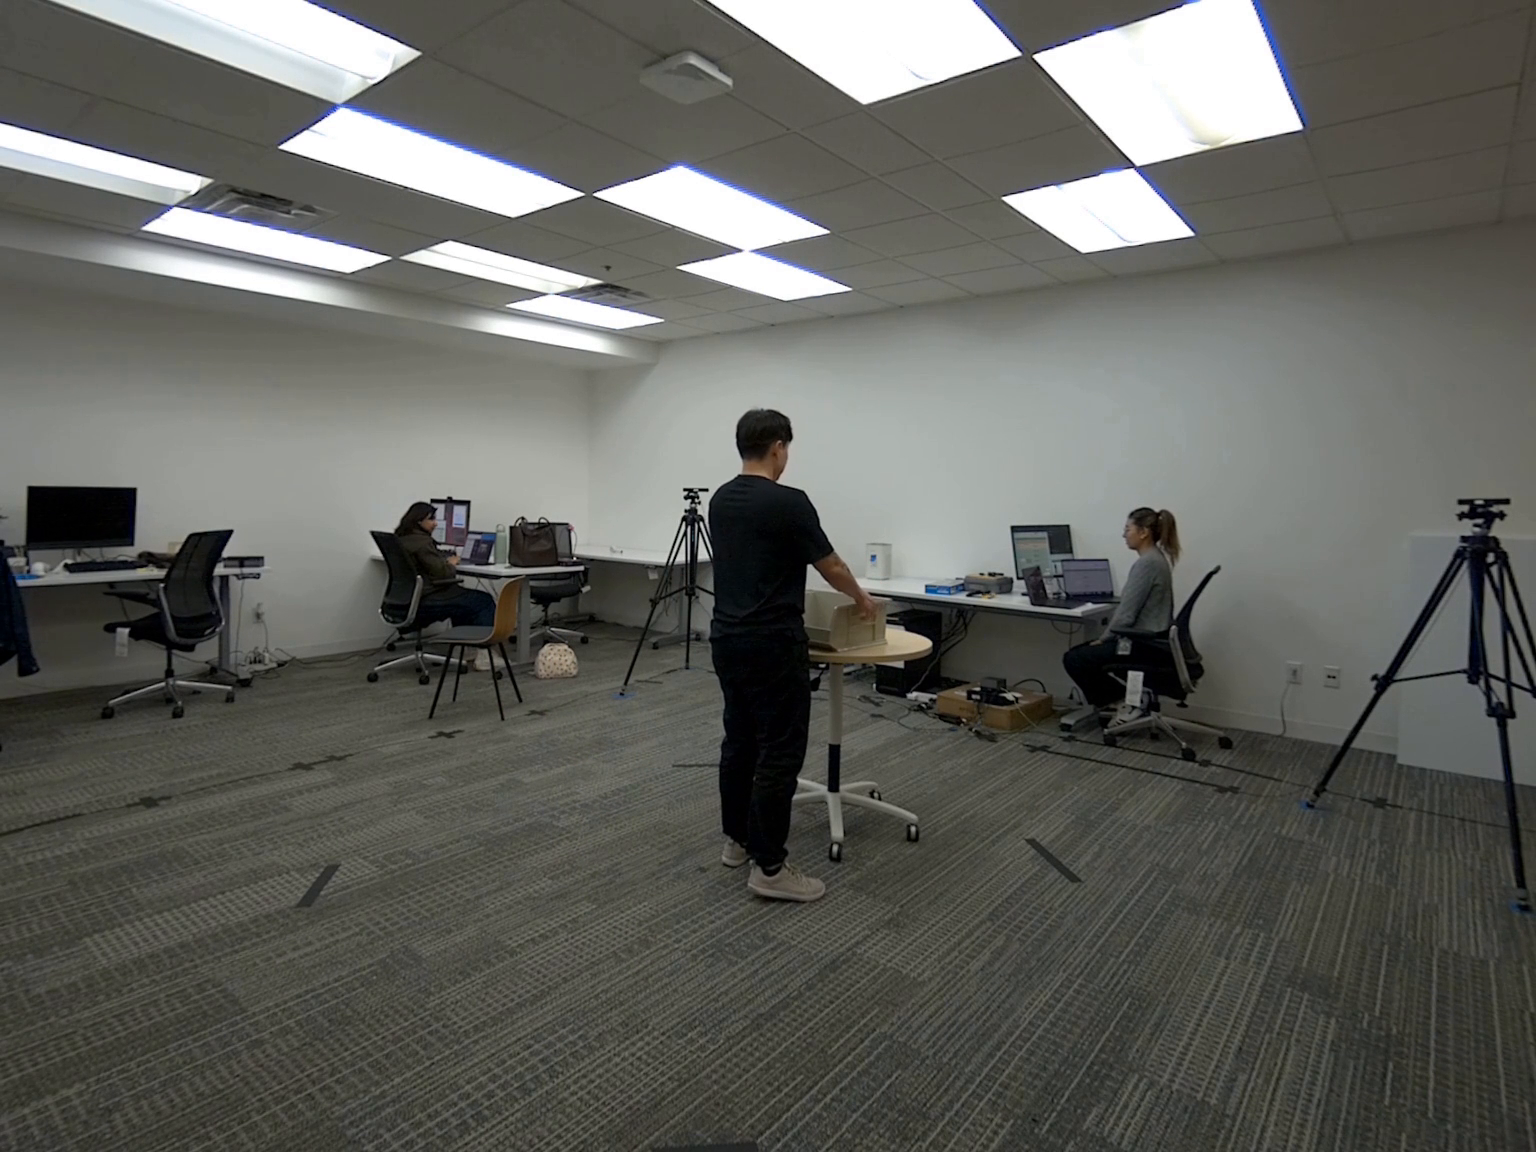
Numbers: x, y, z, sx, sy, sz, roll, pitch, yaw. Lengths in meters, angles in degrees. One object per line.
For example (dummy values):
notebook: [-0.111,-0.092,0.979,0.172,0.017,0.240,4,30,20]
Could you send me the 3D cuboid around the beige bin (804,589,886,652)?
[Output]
beige bin: [0.206,0.173,3.447,0.366,0.188,0.437,-3,6,-44]
